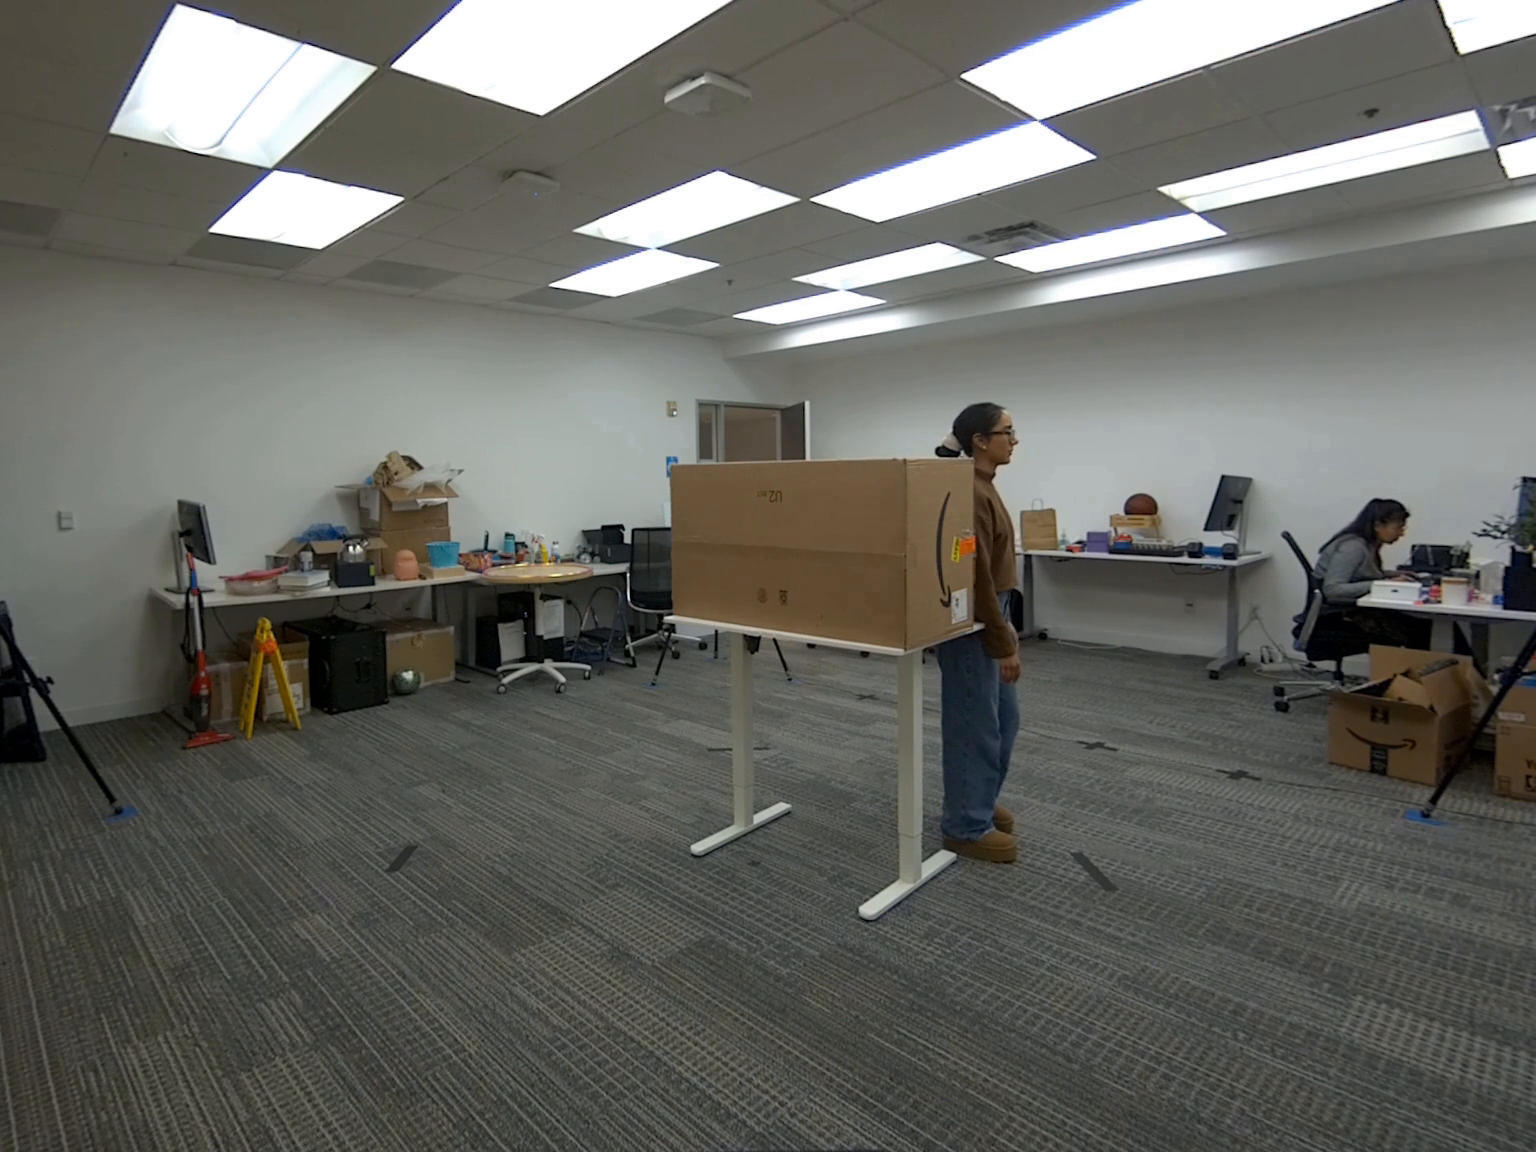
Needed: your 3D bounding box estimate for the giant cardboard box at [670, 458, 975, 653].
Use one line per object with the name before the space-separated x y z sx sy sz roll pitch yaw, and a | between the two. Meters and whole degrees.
giant cardboard box | 0.163 -0.117 3.027 1.058 0.574 0.415 5 9 42
